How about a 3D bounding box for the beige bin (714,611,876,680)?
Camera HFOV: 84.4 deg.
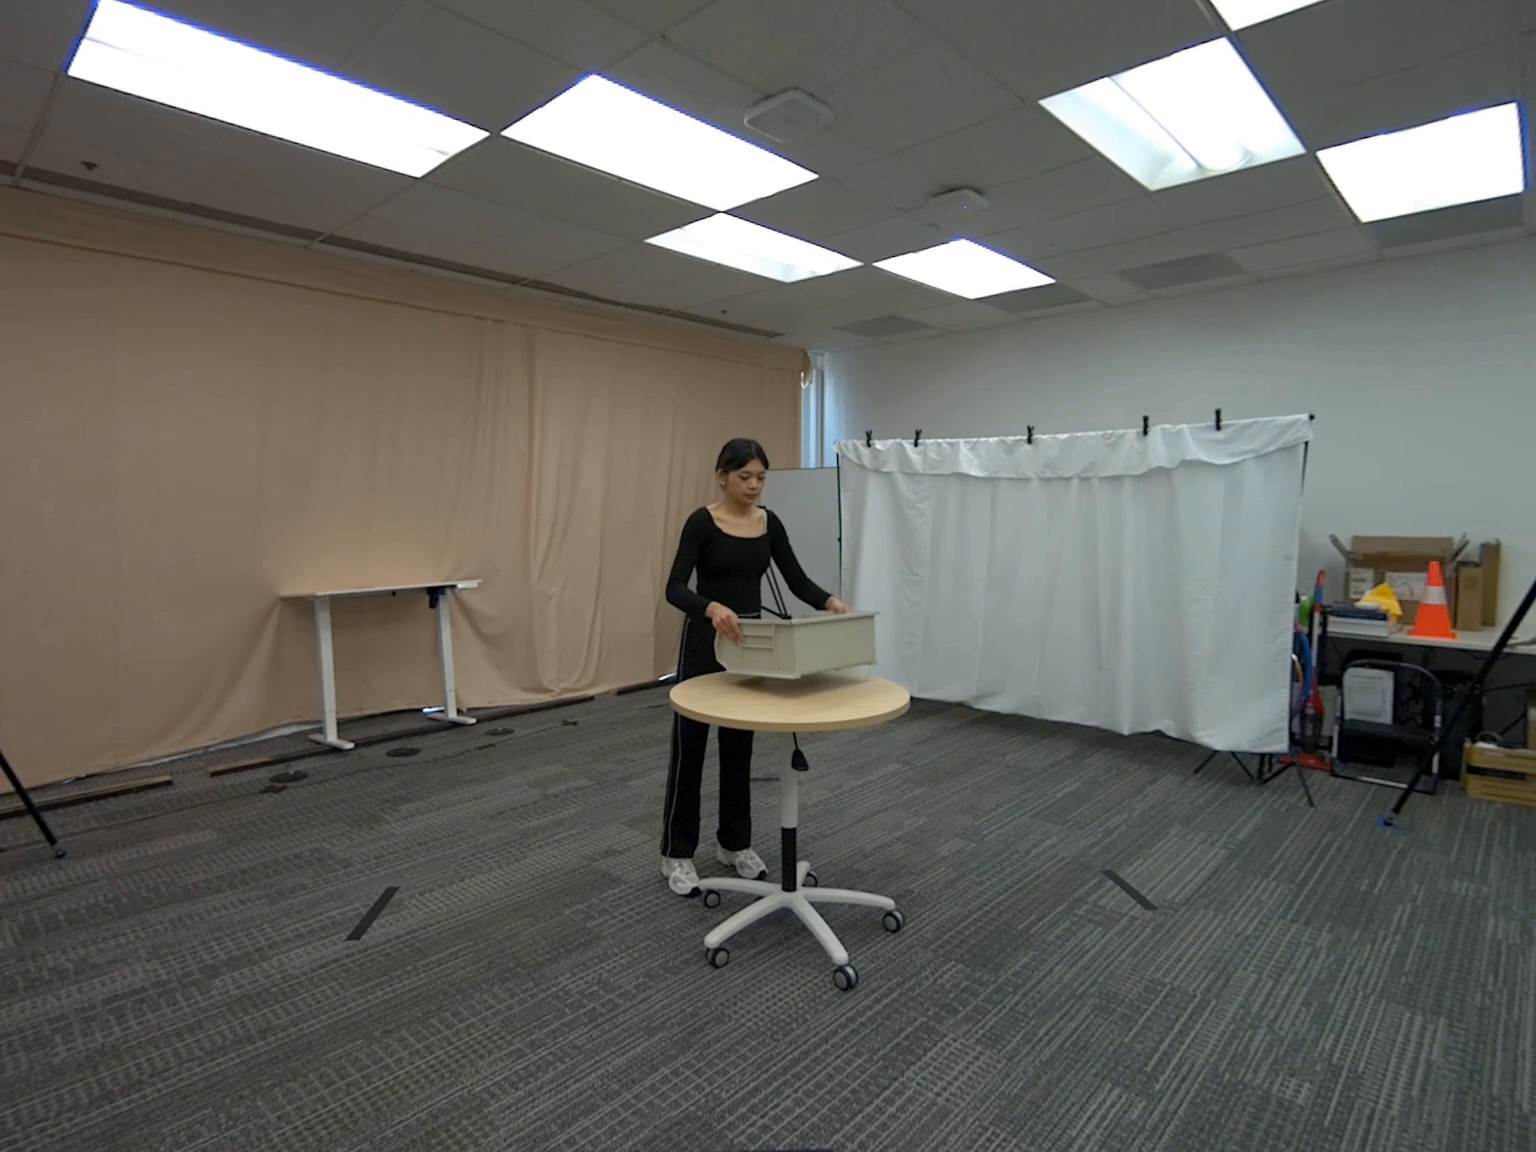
[{"bbox_3d":[0.097,0.219,2.833,0.409,0.189,0.390,-1,3,-41],"label":"beige bin"}]
